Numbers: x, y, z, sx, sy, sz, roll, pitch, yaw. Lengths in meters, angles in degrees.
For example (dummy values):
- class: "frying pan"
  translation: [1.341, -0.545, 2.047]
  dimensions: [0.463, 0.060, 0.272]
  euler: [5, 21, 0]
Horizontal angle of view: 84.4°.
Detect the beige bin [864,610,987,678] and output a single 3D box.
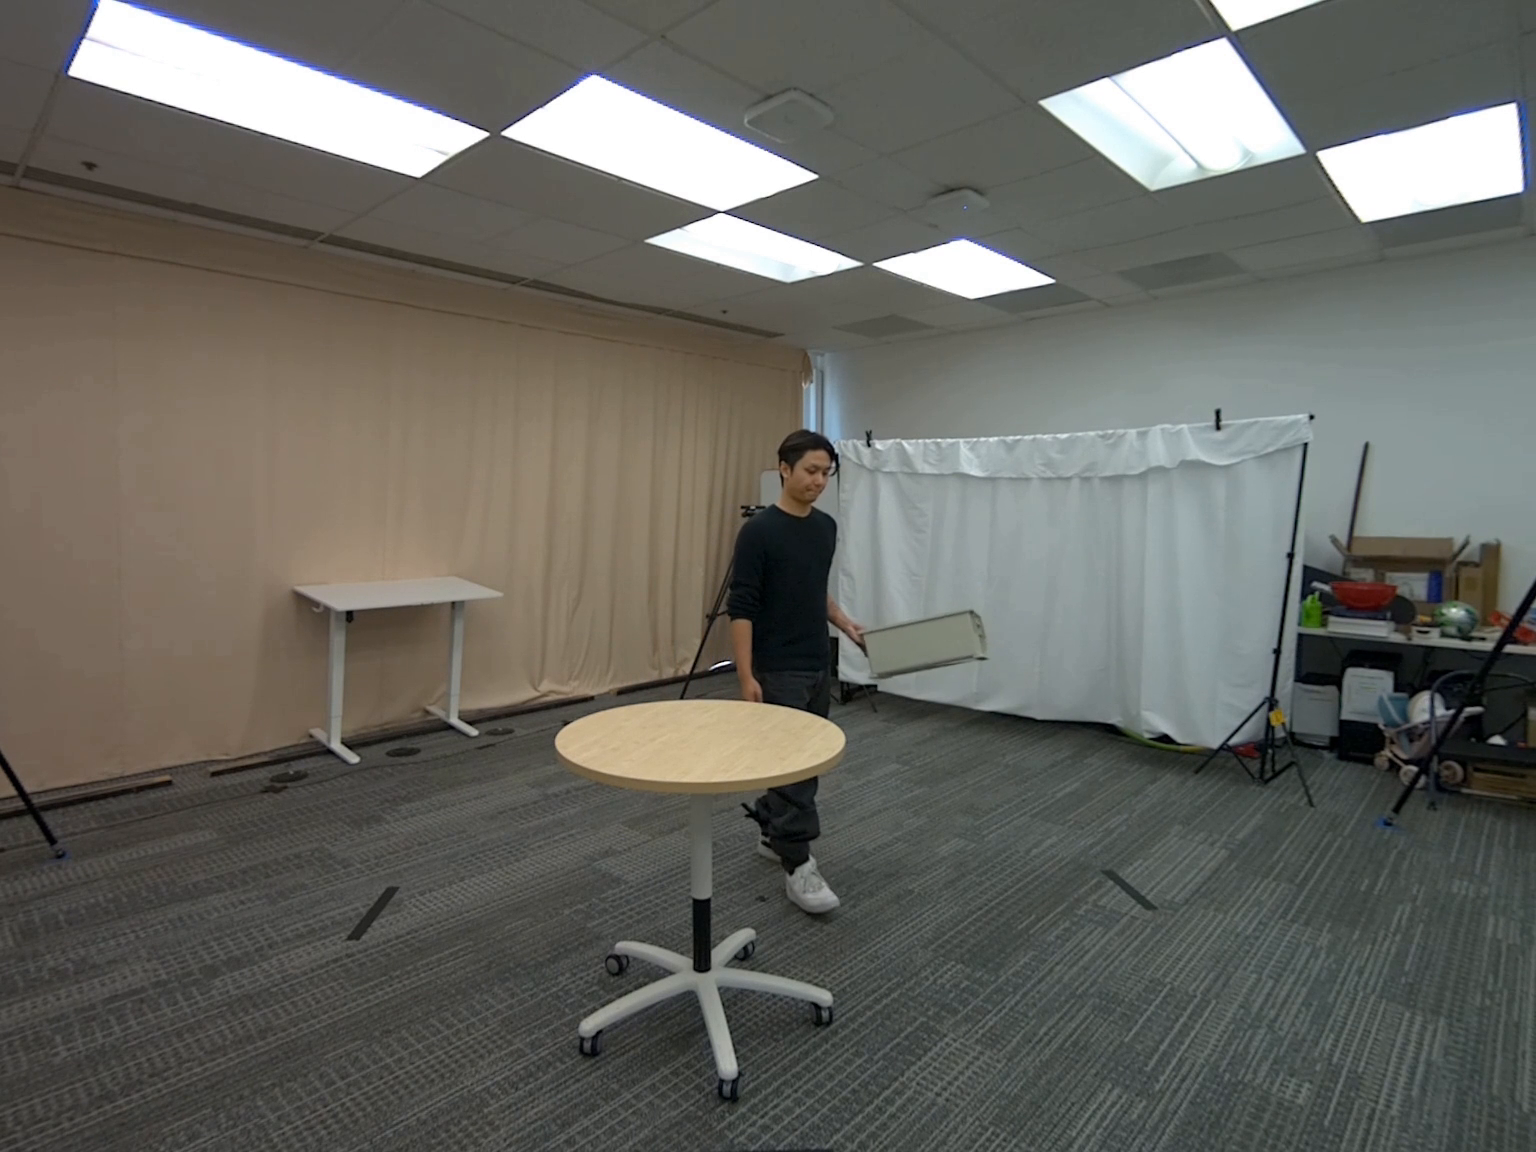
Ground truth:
- class: "beige bin"
  translation: [0.609, 0.253, 3.197]
  dimensions: [0.429, 0.190, 0.369]
  euler: [-12, -7, 17]
